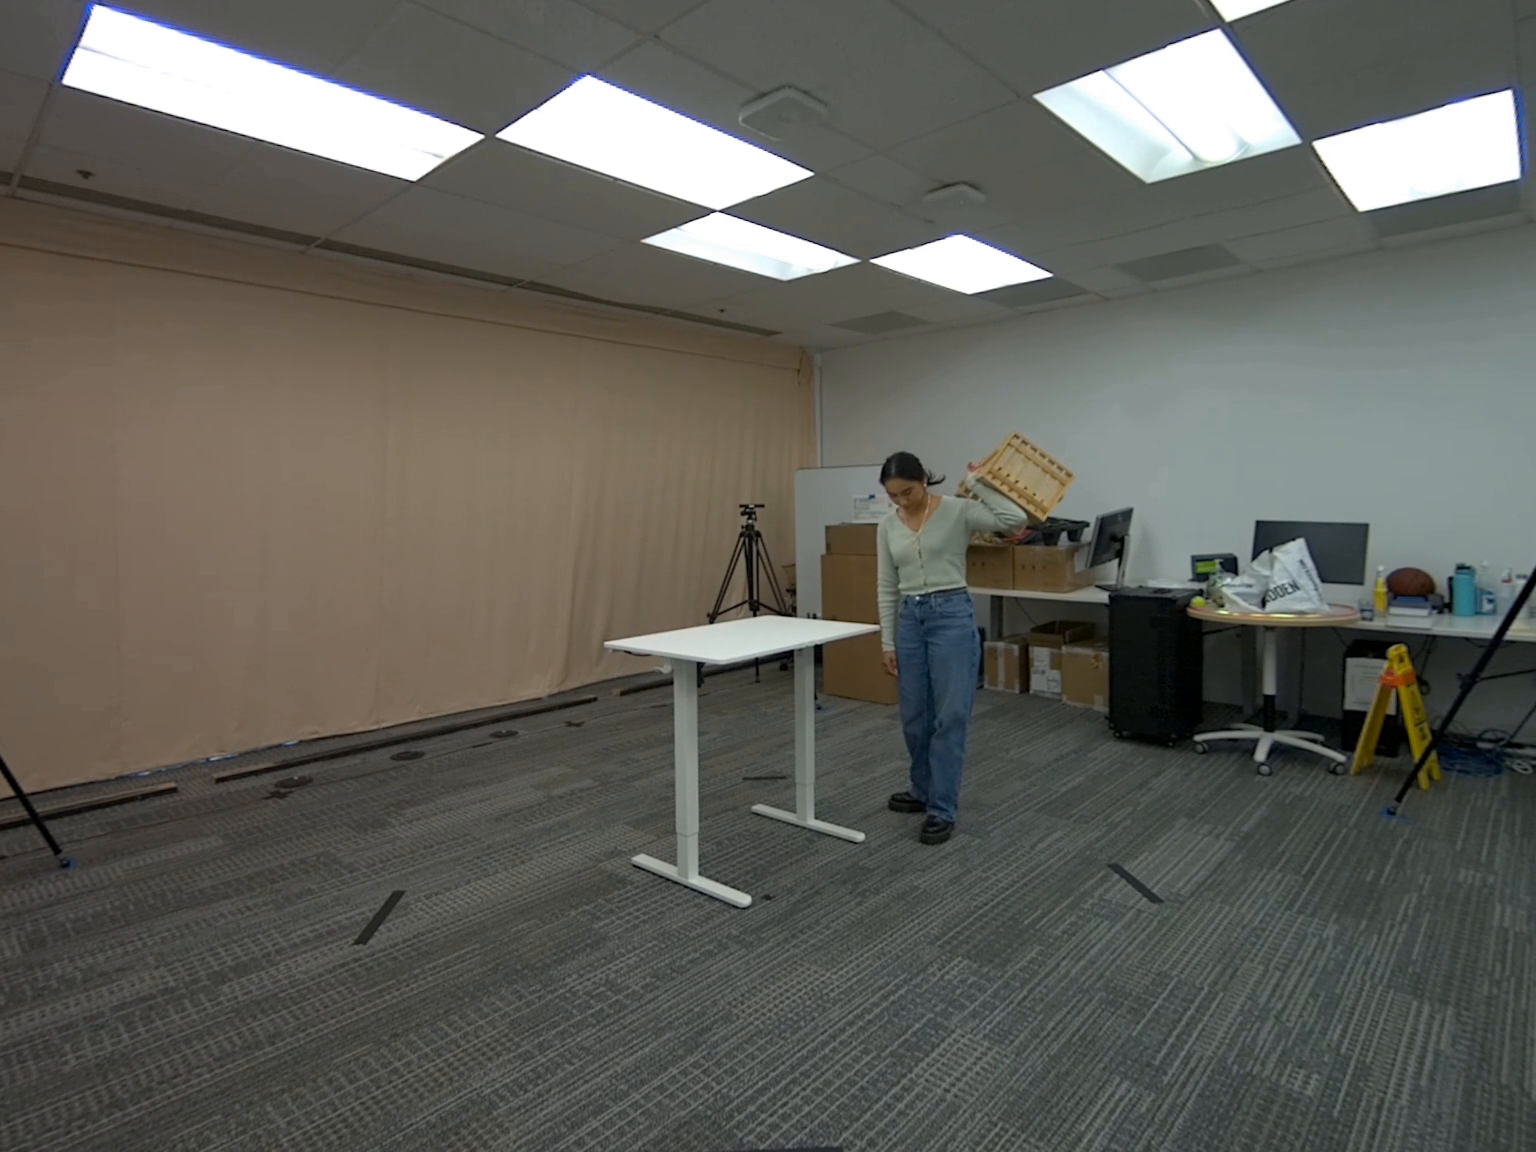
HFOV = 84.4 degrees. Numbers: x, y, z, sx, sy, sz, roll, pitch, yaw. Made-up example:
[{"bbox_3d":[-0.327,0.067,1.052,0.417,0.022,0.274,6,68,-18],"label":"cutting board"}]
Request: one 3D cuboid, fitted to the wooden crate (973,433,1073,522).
[{"bbox_3d":[1.025,-0.380,3.462,0.324,0.302,0.274,36,-7,-1],"label":"wooden crate"}]
